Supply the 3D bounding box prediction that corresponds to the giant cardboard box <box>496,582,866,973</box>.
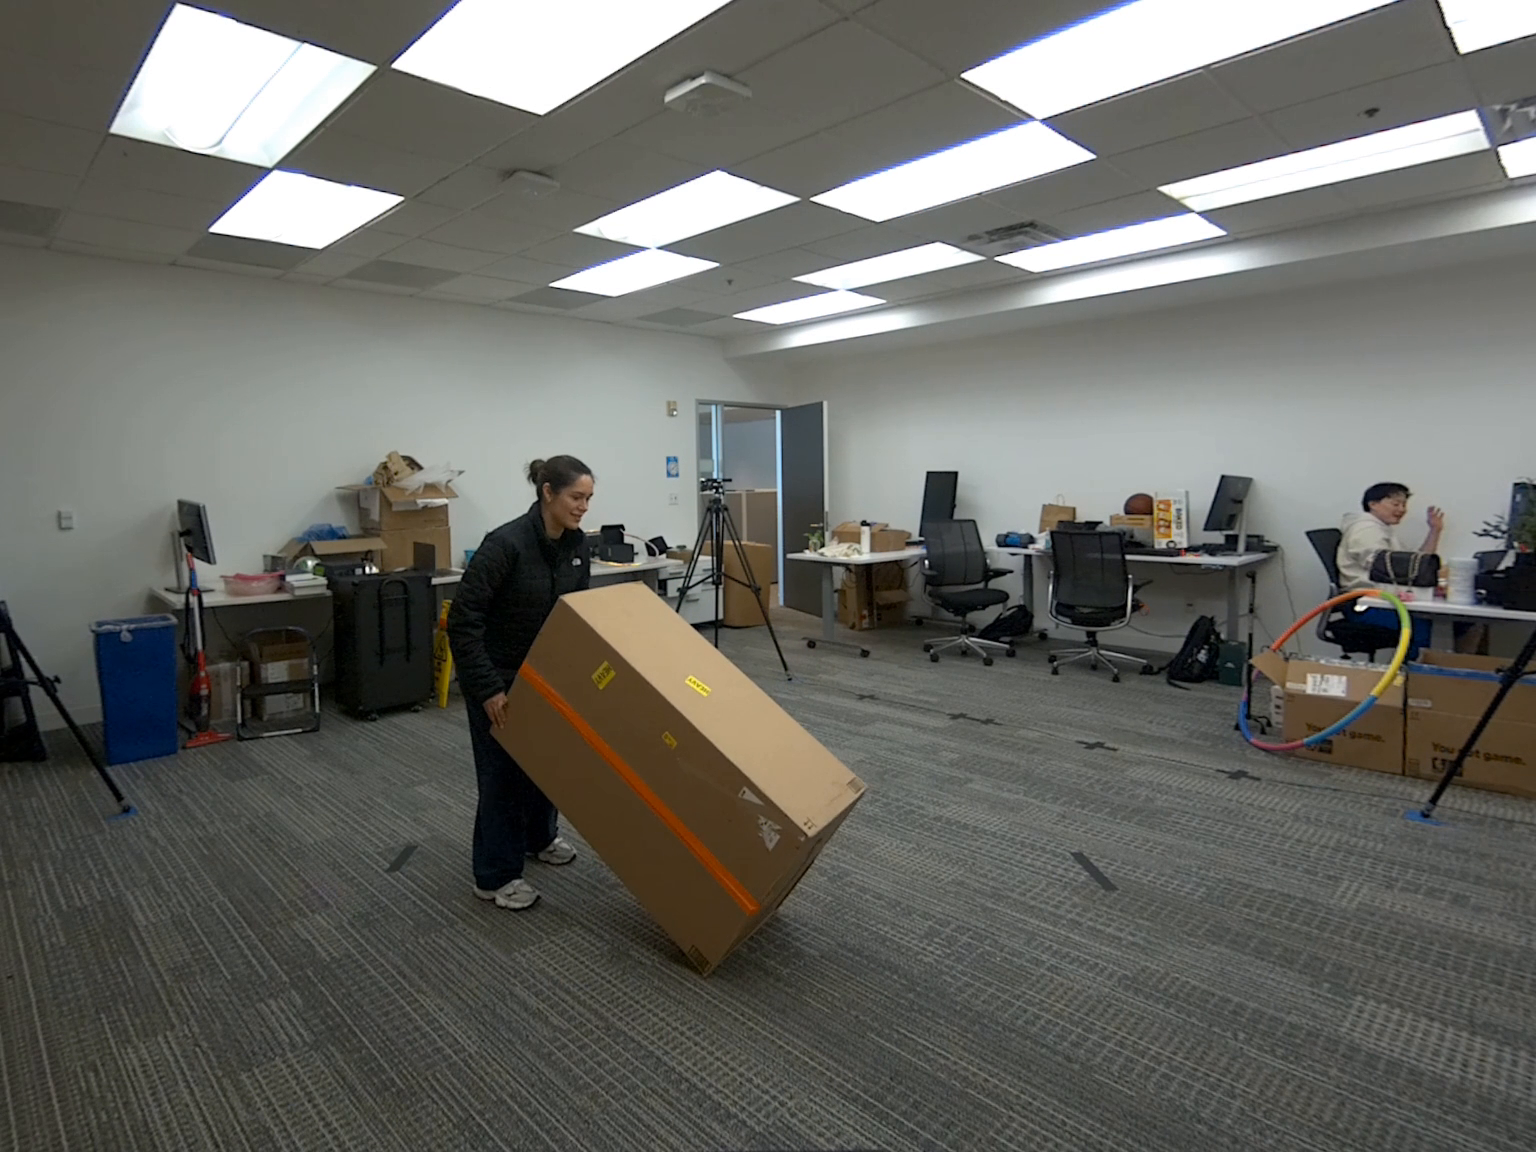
[{"bbox_3d":[-0.303,0.571,2.682,1.055,0.580,0.437,39,23,21],"label":"giant cardboard box"}]
